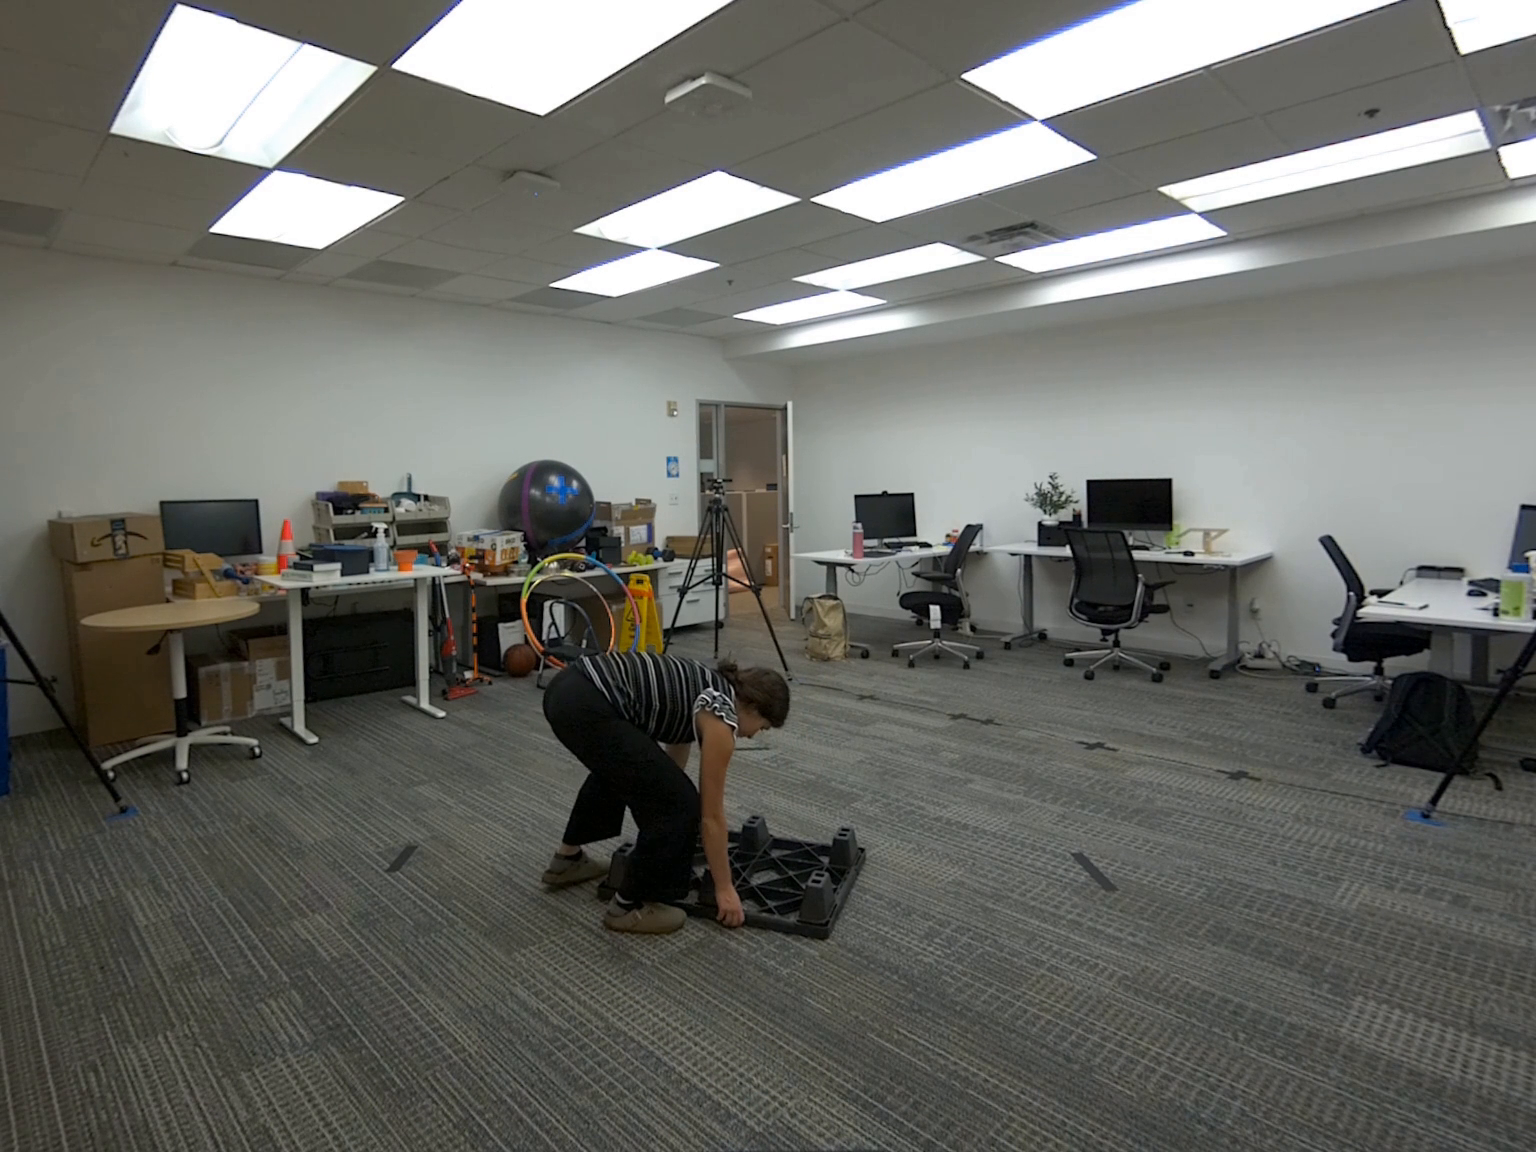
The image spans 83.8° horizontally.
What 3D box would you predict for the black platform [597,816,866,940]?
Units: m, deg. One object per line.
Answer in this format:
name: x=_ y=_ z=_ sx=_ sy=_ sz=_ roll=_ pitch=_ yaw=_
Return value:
black platform: x=-0.109 y=0.991 z=2.991 sx=0.821 sy=0.142 sz=0.596 roll=1 pitch=7 yaw=20
